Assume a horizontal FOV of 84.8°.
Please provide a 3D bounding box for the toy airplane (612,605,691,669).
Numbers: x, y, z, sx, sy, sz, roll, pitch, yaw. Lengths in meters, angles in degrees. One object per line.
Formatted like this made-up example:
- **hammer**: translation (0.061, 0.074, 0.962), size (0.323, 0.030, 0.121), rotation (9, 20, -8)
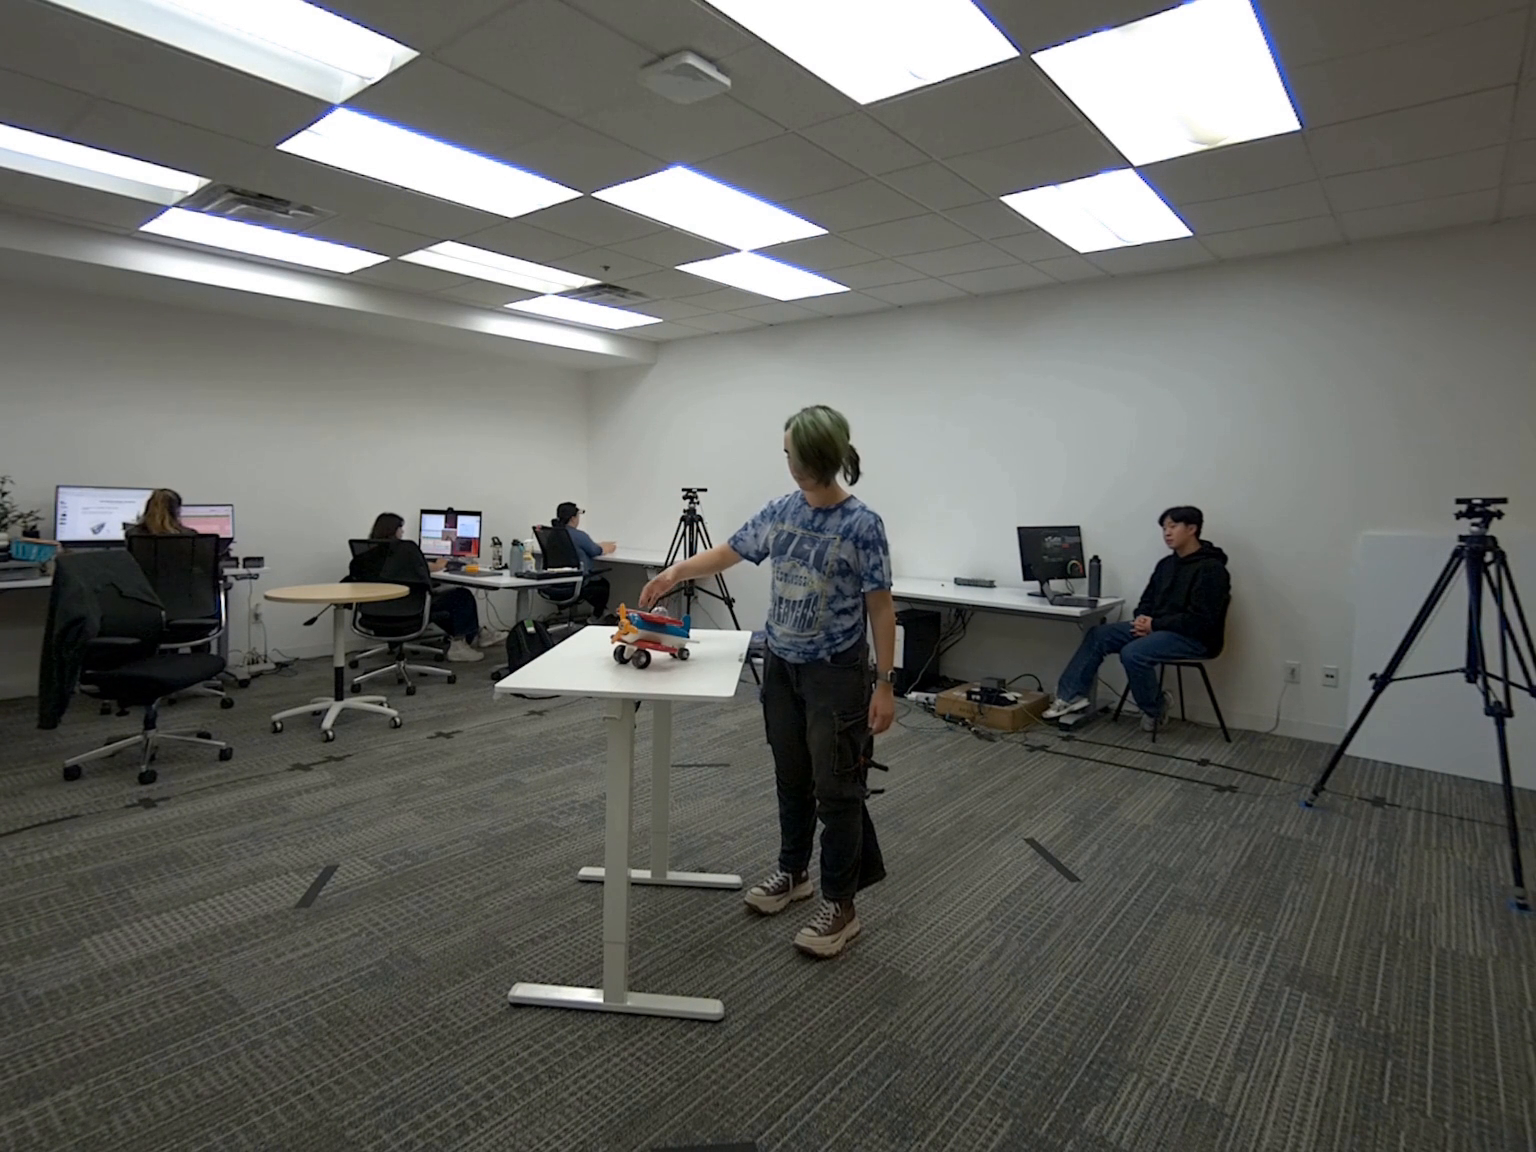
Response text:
- **toy airplane**: translation (-0.350, 0.172, 2.475), size (0.256, 0.156, 0.255), rotation (3, 6, 16)
